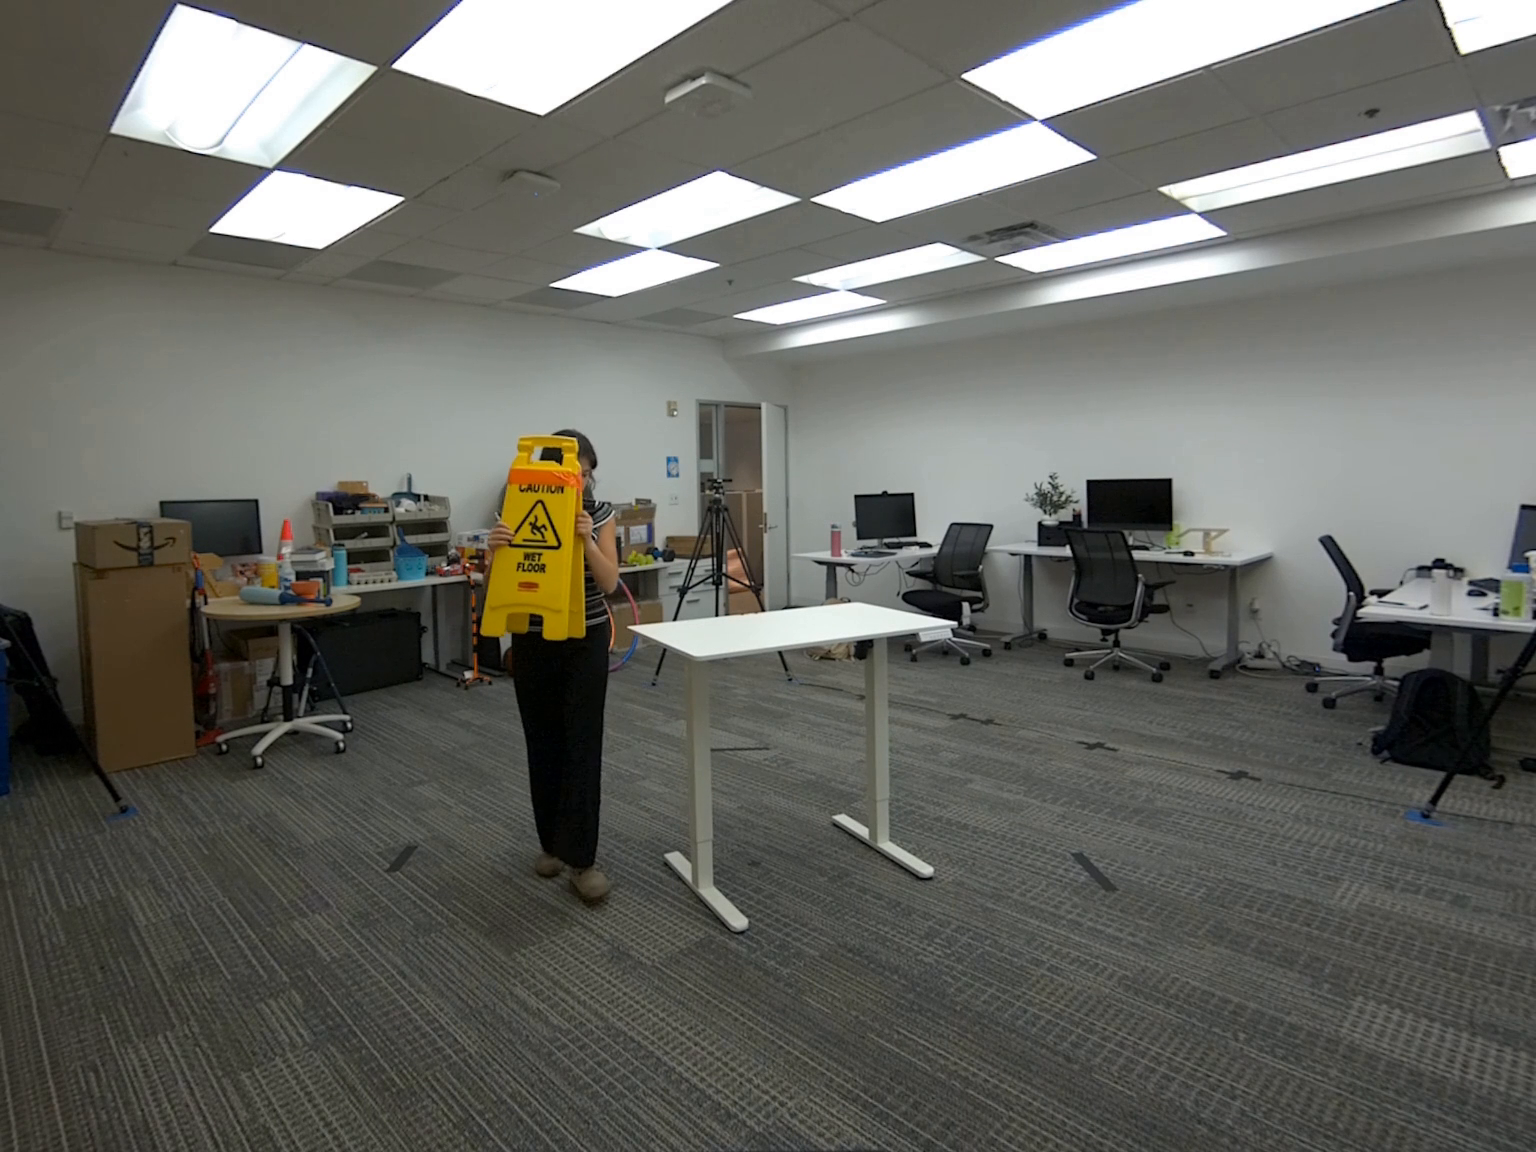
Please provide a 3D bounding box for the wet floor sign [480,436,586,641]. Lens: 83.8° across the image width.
[{"bbox_3d":[-0.727,-0.128,2.777,0.284,0.648,0.287,2,-3,5],"label":"wet floor sign"}]
